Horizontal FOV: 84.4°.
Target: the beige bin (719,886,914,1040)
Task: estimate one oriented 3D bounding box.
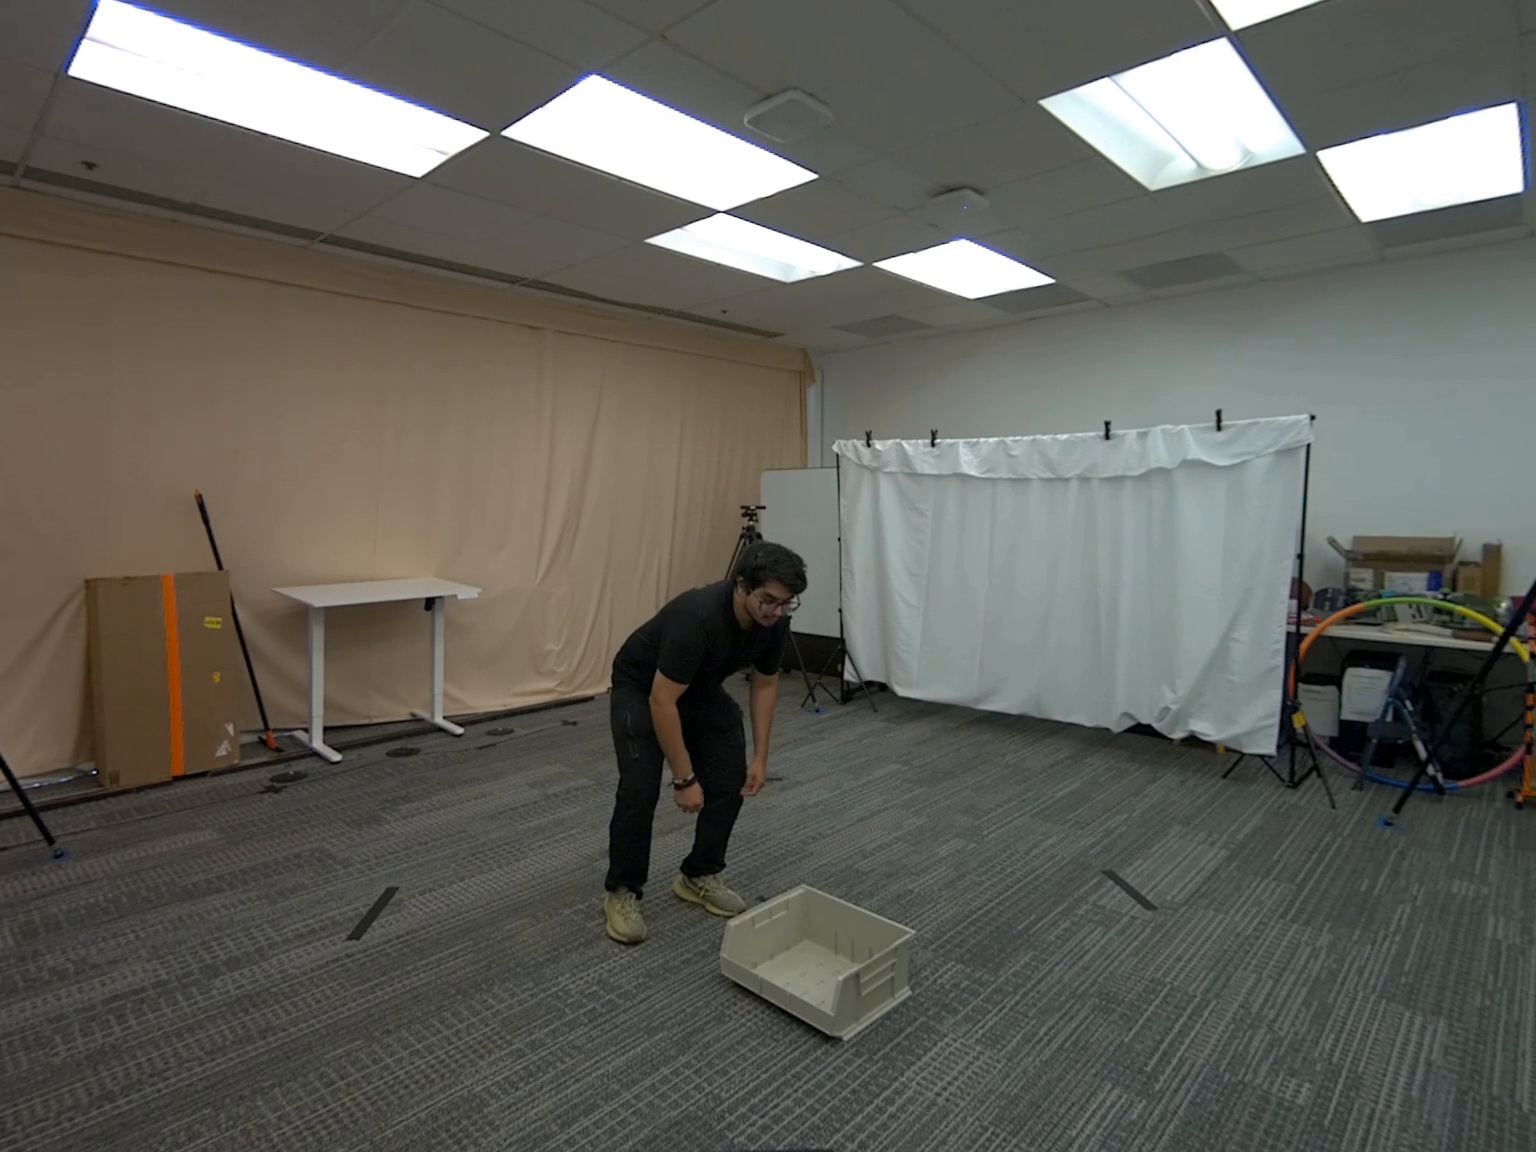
[{"bbox_3d":[0.146,1.106,2.417,0.436,0.188,0.366,3,5,44],"label":"beige bin"}]
